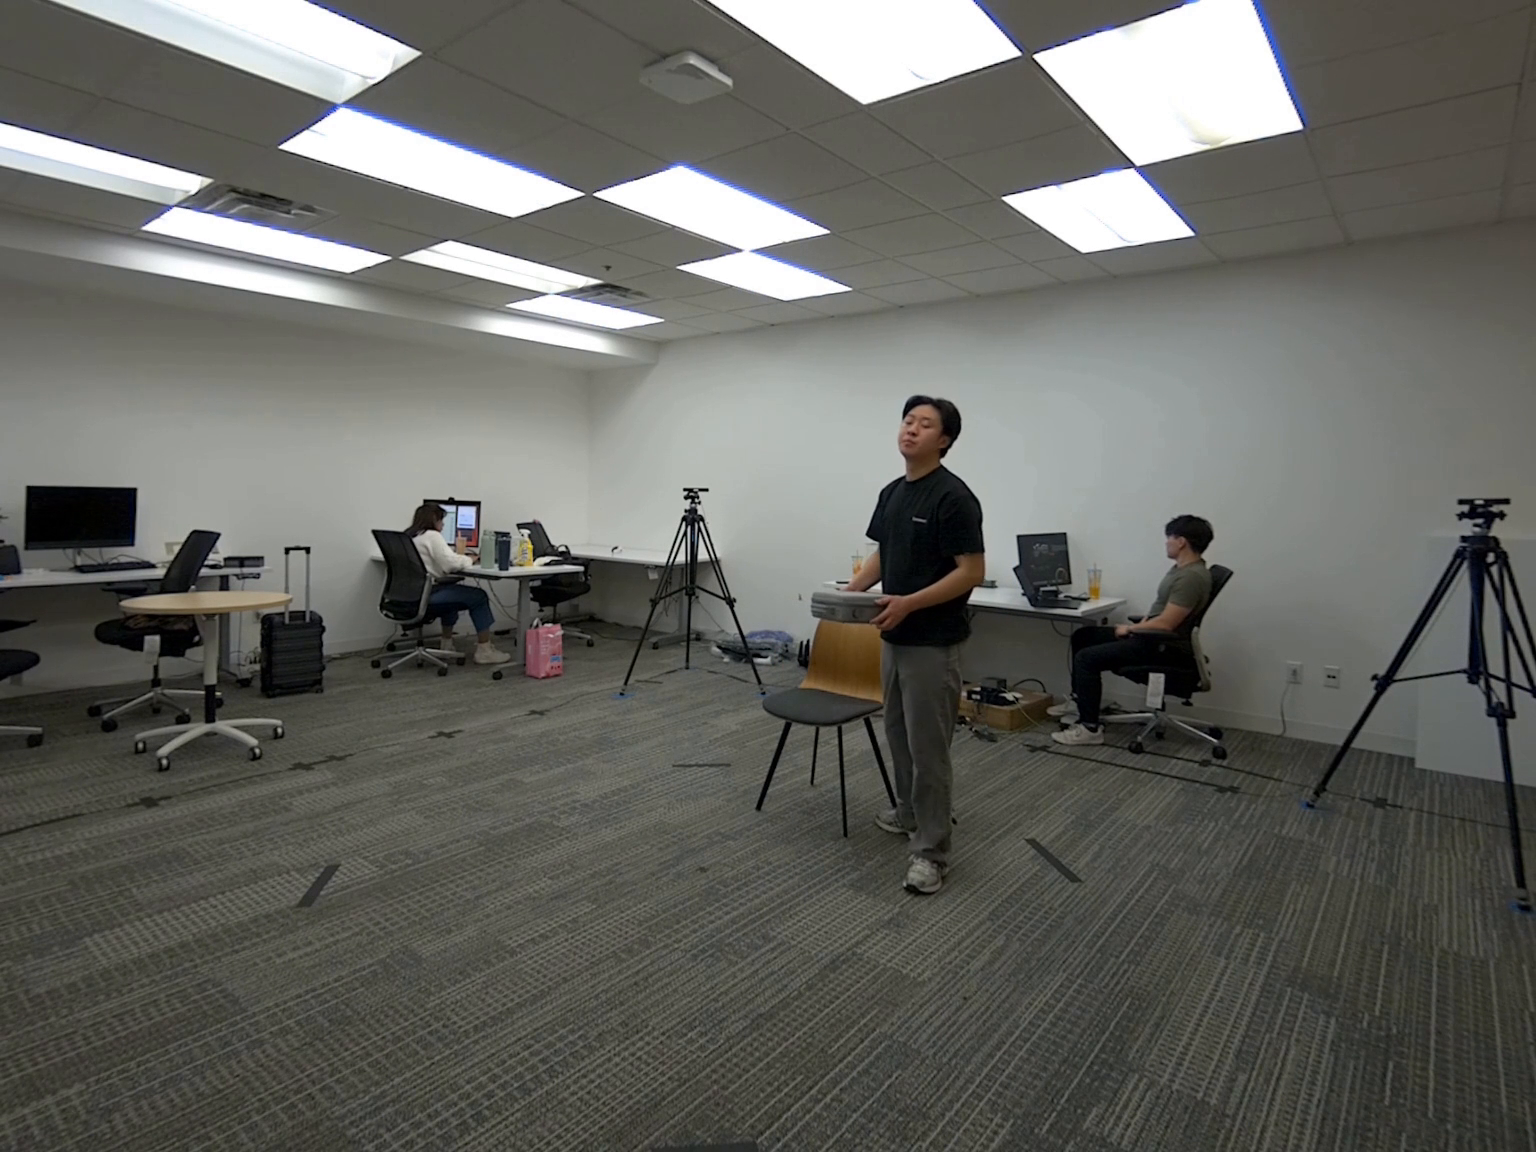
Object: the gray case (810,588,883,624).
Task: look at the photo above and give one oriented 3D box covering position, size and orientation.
[{"bbox_3d":[0.306,0.117,3.110,0.280,0.103,0.270,2,2,-25],"label":"gray case"}]
